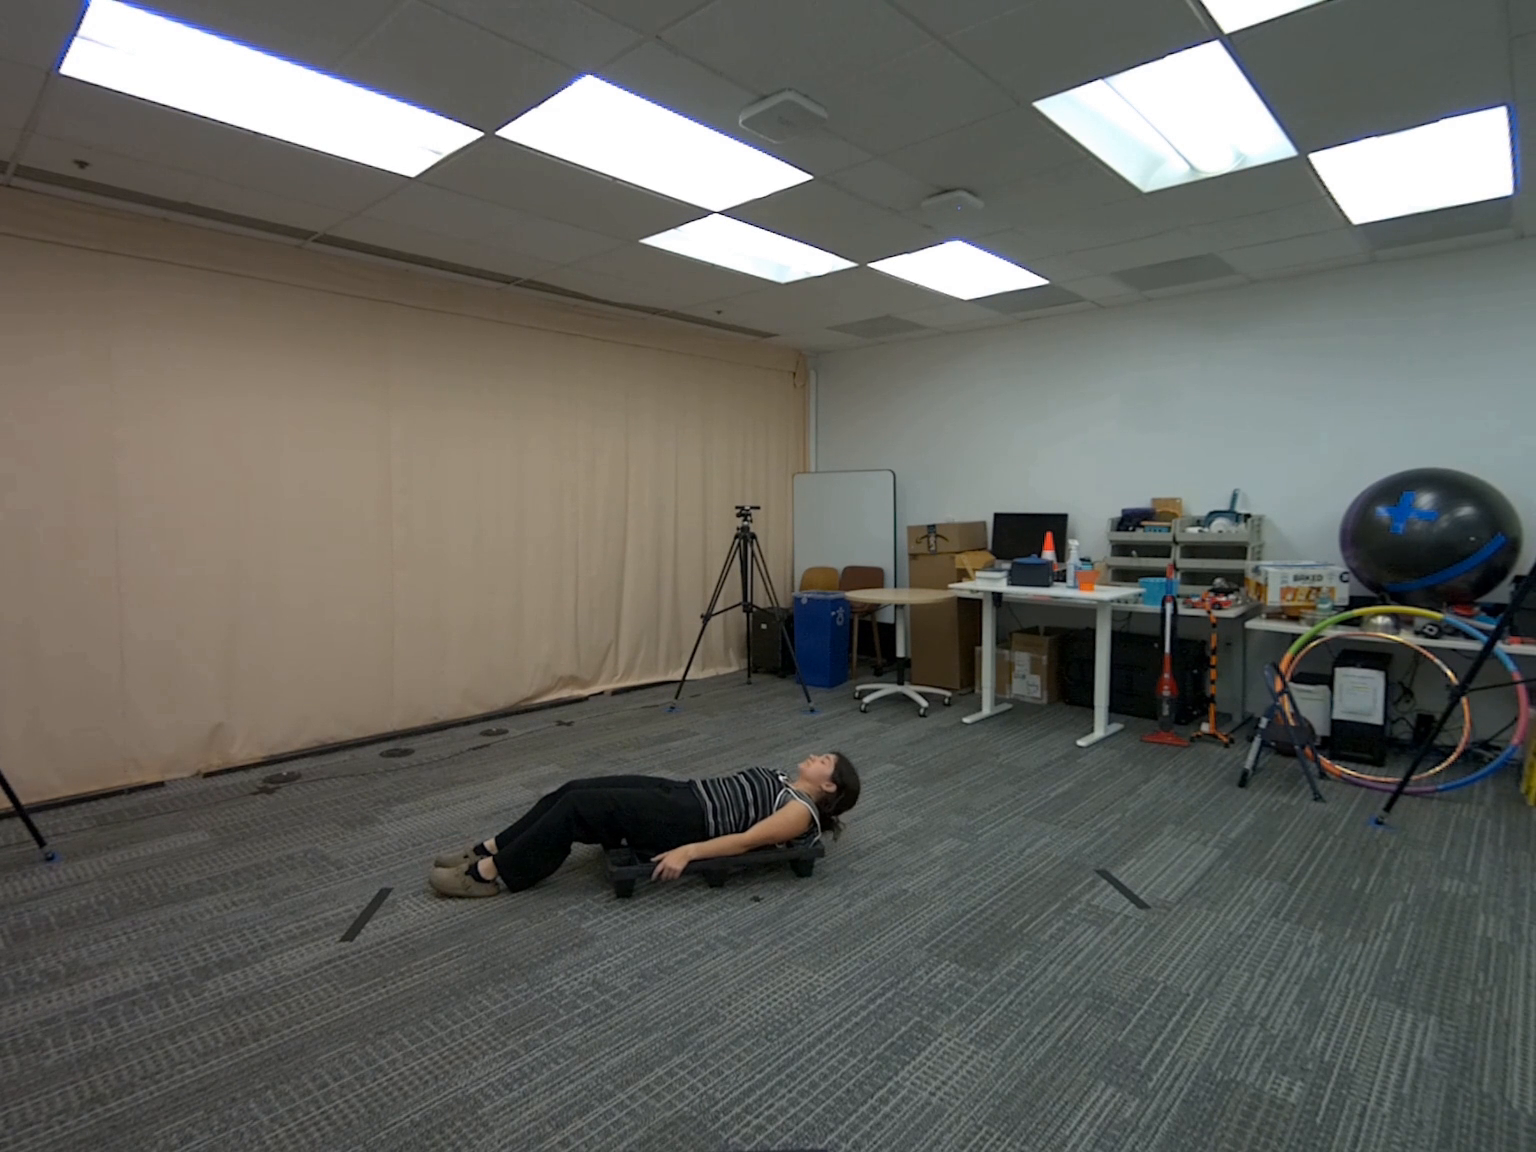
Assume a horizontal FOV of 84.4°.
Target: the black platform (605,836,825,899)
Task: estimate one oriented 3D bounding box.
[{"bbox_3d":[-0.266,1.055,3.299,0.794,0.143,0.616,-2,6,-14],"label":"black platform"}]
